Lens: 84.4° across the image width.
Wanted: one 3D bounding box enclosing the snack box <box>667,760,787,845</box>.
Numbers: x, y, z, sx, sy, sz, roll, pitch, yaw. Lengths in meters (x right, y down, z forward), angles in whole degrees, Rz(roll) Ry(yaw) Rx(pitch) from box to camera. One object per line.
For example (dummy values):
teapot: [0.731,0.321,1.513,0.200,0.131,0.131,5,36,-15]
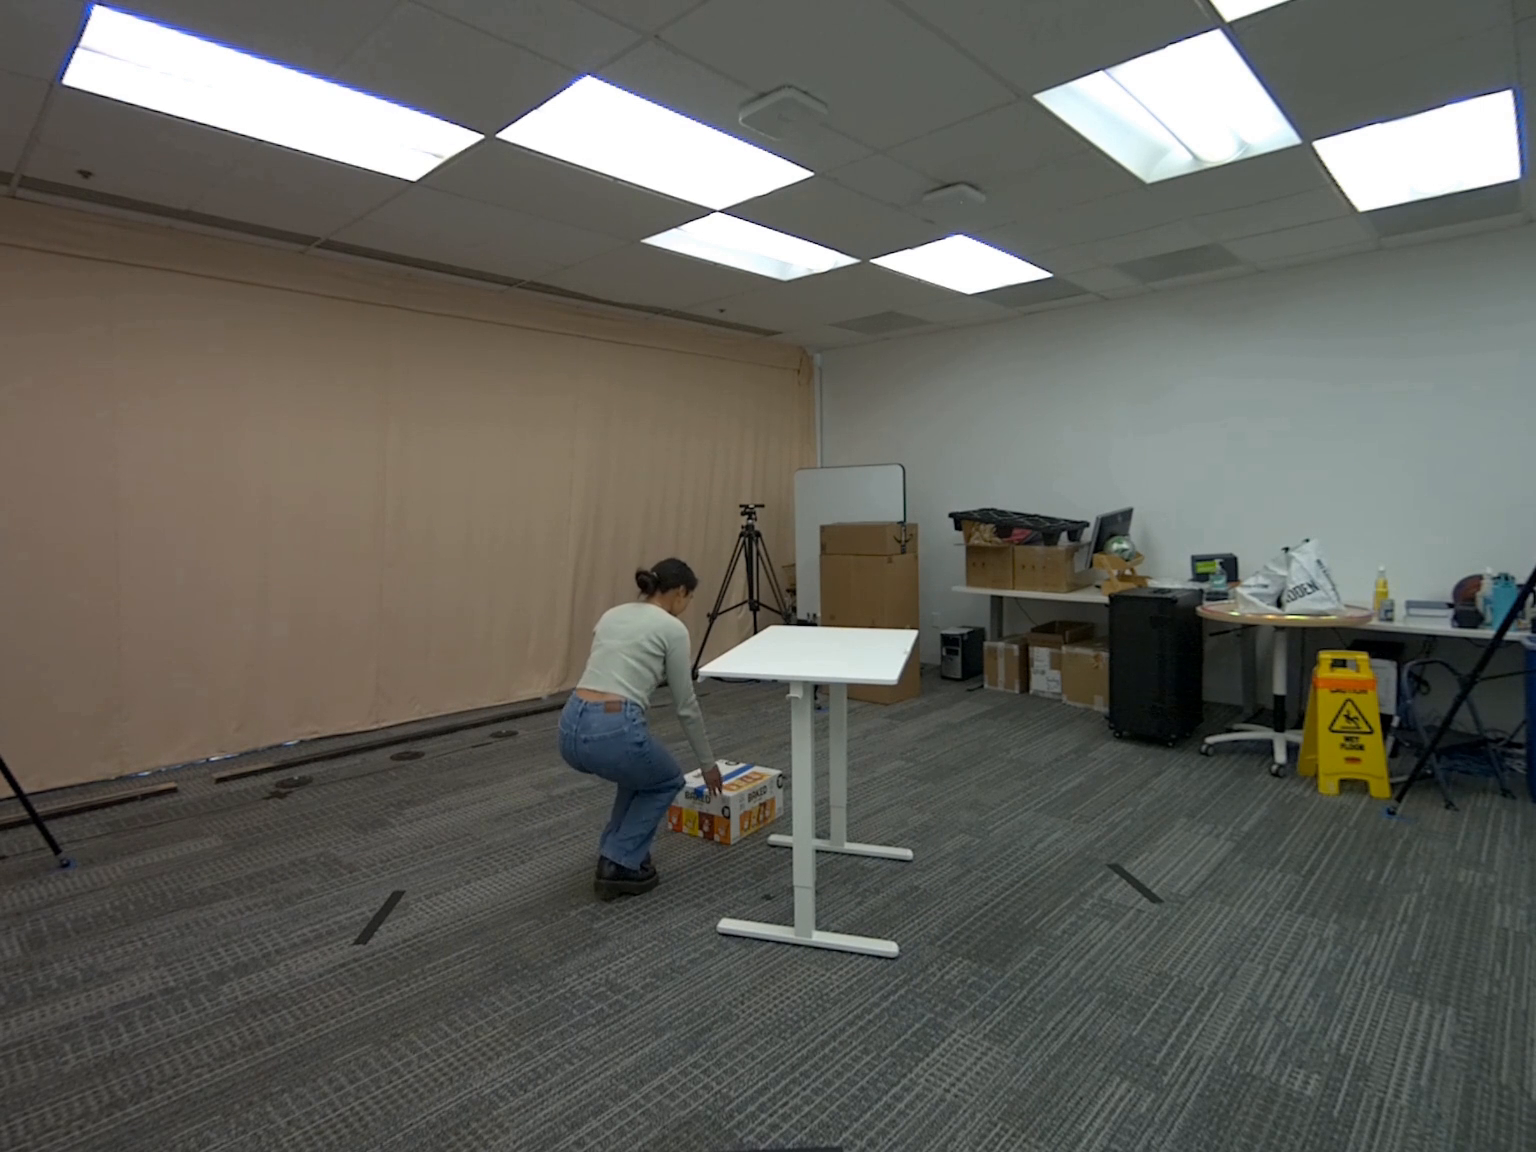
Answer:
snack box: [-0.183,0.982,3.698,0.351,0.205,0.394,2,5,34]
